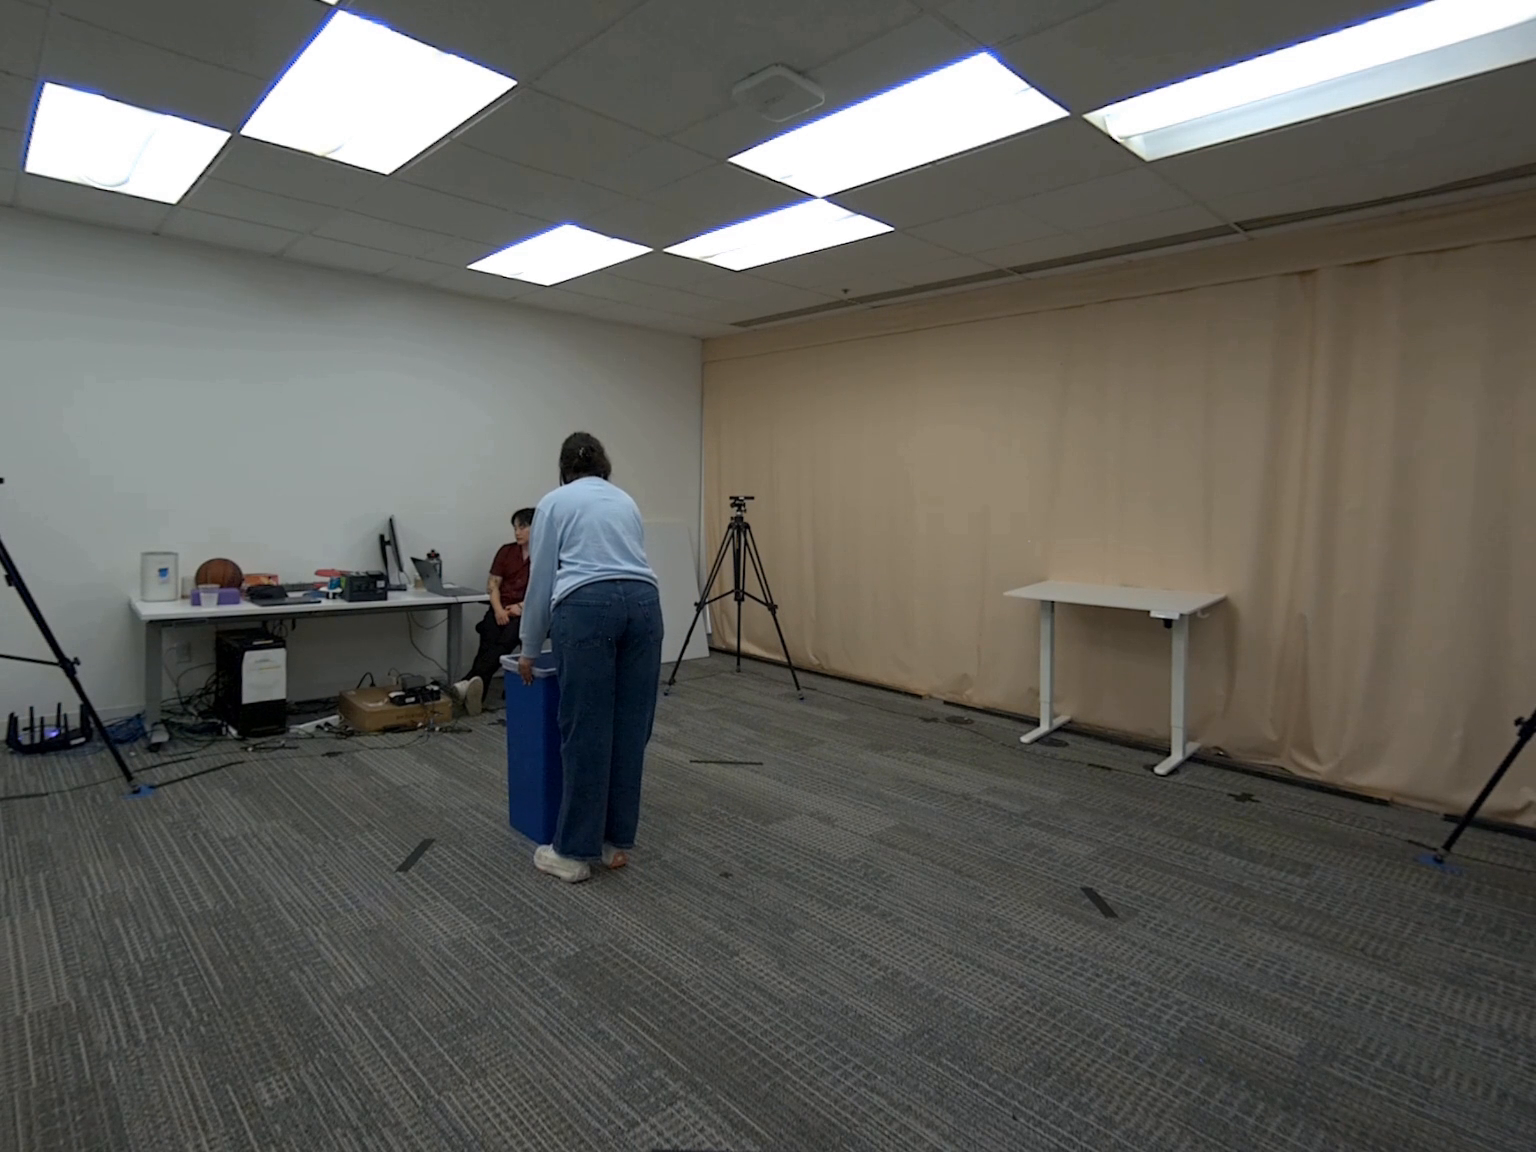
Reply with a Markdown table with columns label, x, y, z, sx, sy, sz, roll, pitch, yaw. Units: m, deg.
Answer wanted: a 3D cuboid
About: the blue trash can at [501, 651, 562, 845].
| label | x | y | z | sx | sy | sz | roll | pitch | yaw |
| --- | --- | --- | --- | --- | --- | --- | --- | --- | --- |
| blue trash can | -0.882 | 0.693 | 3.504 | 0.365 | 0.712 | 0.387 | -1 | 3 | -44 |
